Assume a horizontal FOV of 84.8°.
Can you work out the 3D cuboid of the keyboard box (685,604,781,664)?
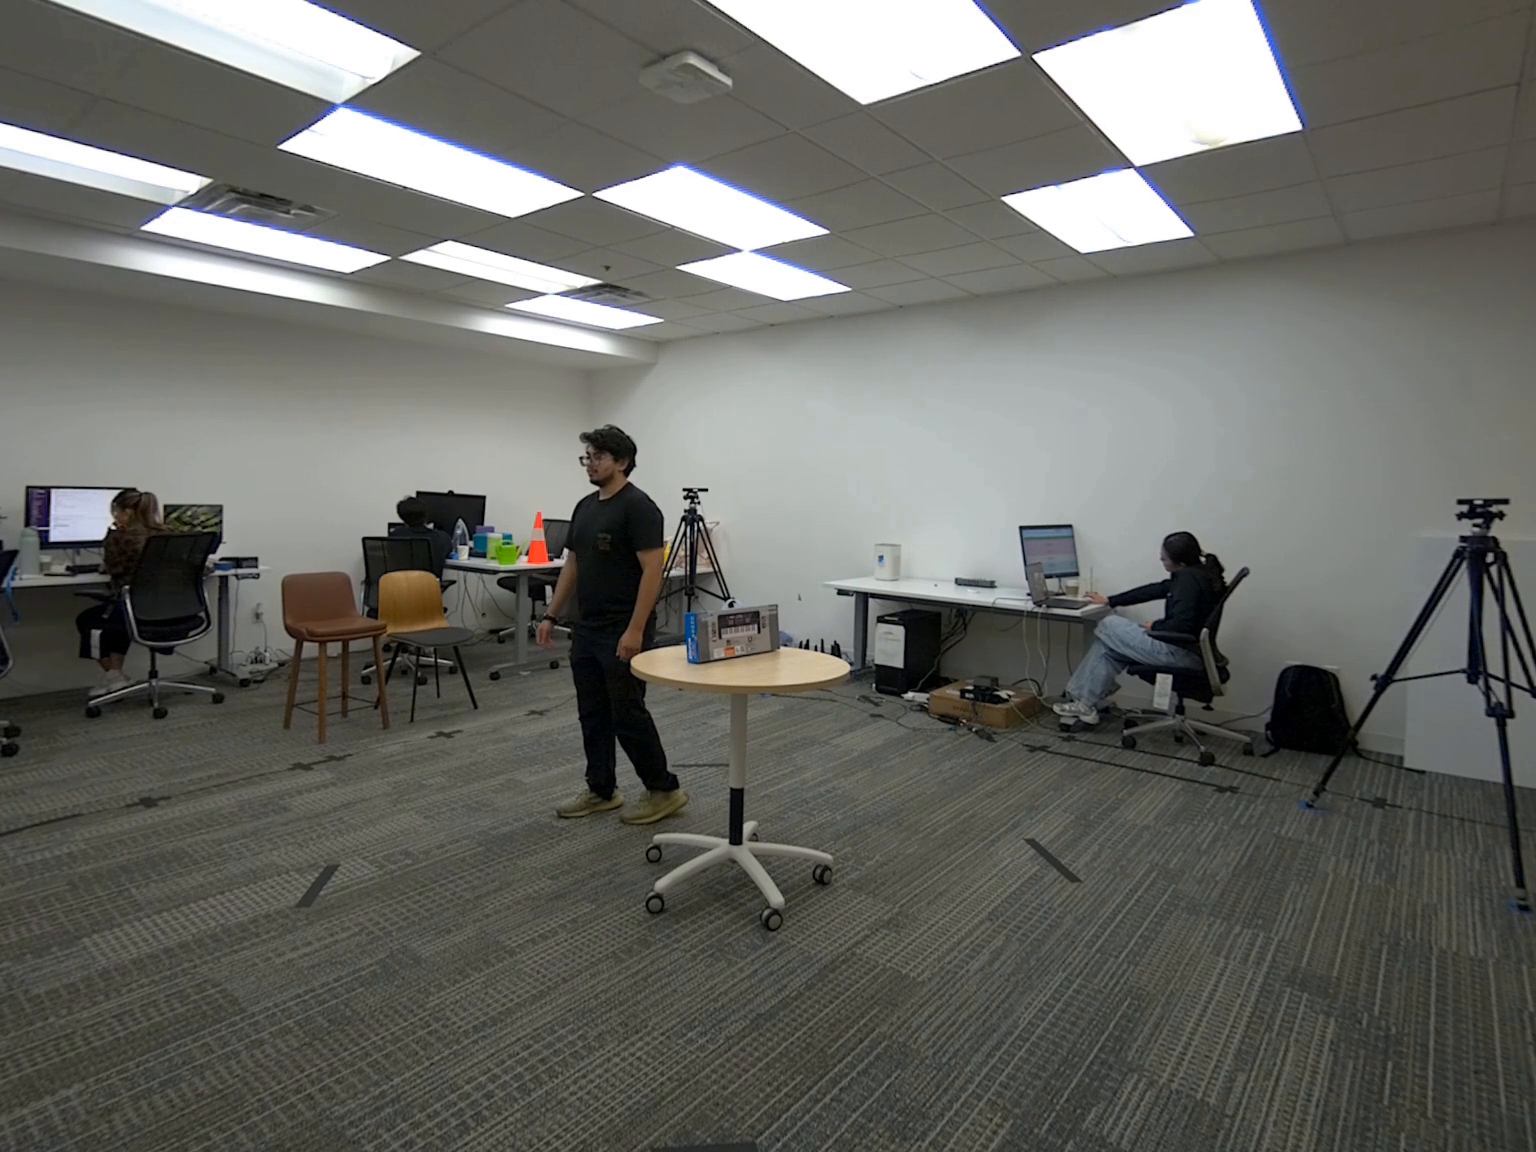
[{"bbox_3d":[-0.128,0.204,3.093,0.061,0.176,0.423,-4,0,42],"label":"keyboard box"}]
